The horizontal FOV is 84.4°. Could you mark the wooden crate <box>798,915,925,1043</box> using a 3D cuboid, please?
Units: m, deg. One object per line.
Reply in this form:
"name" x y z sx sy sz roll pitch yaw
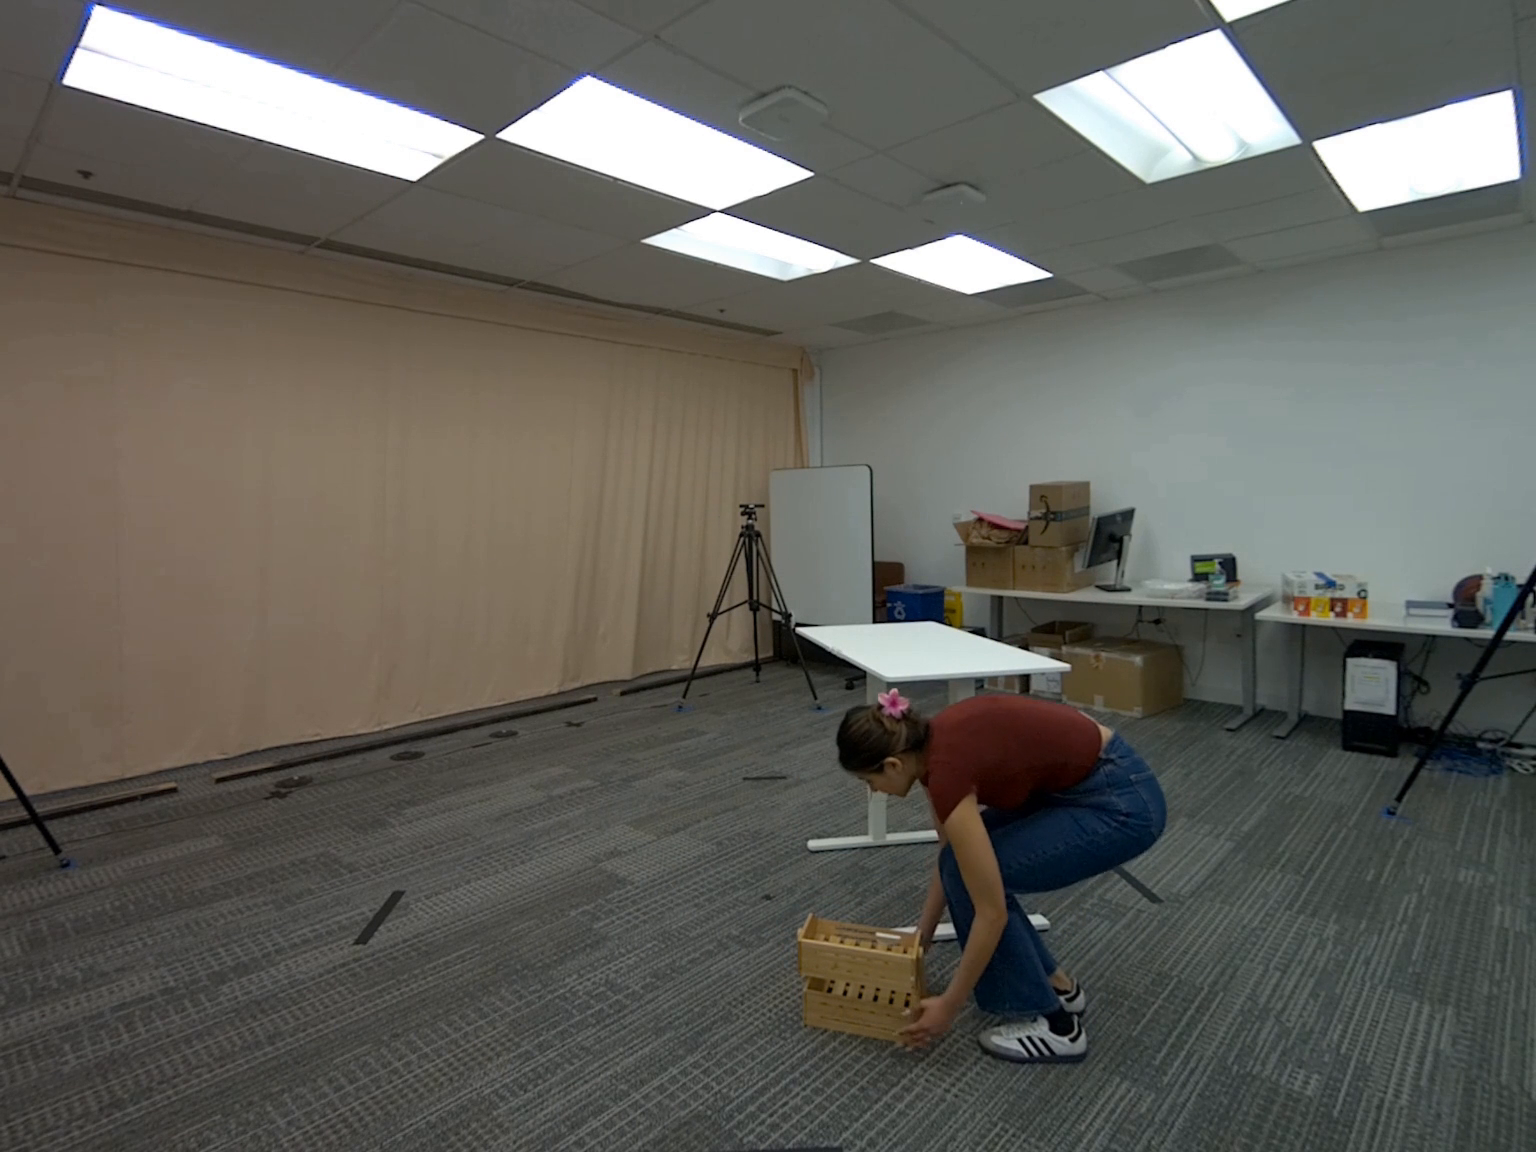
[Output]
"wooden crate" 0.269 1.065 2.288 0.331 0.272 0.297 1 5 17
